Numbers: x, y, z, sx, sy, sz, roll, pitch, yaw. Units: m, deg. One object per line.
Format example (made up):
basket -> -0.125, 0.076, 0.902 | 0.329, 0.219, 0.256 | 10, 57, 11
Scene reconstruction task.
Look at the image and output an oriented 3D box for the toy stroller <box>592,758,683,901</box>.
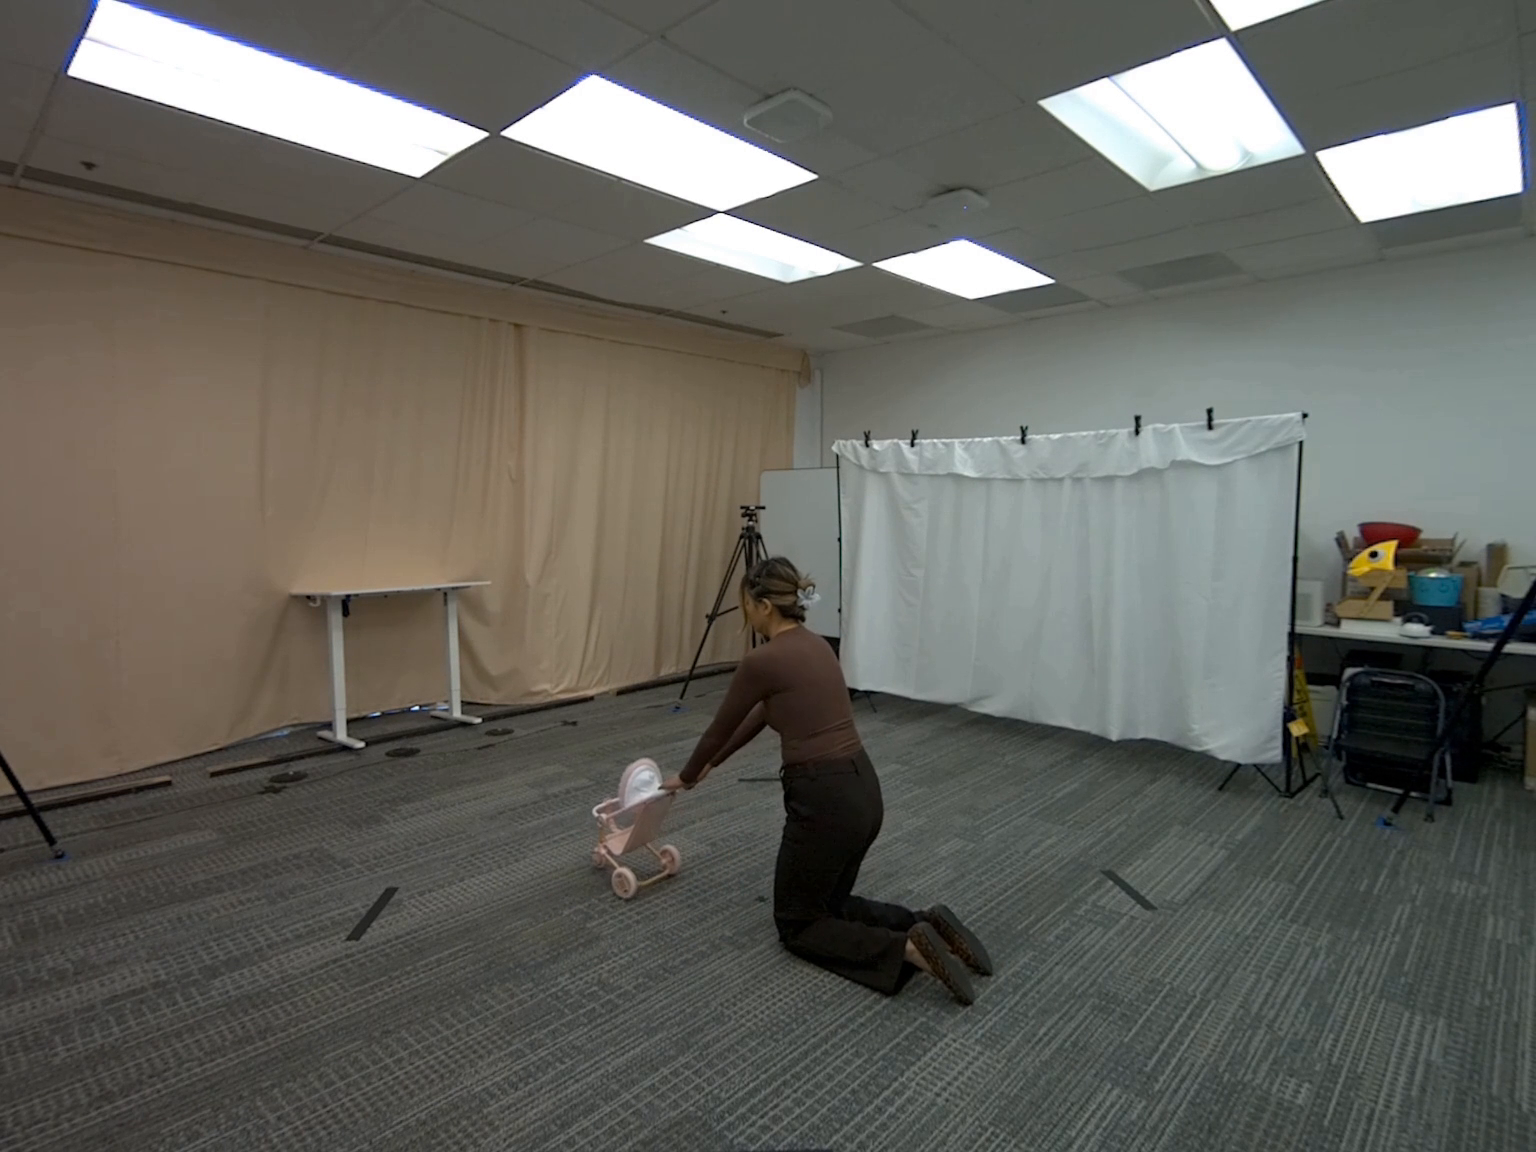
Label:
toy stroller -> -0.484, 0.912, 3.119 | 0.354, 0.532, 0.273 | 23, 16, 37
